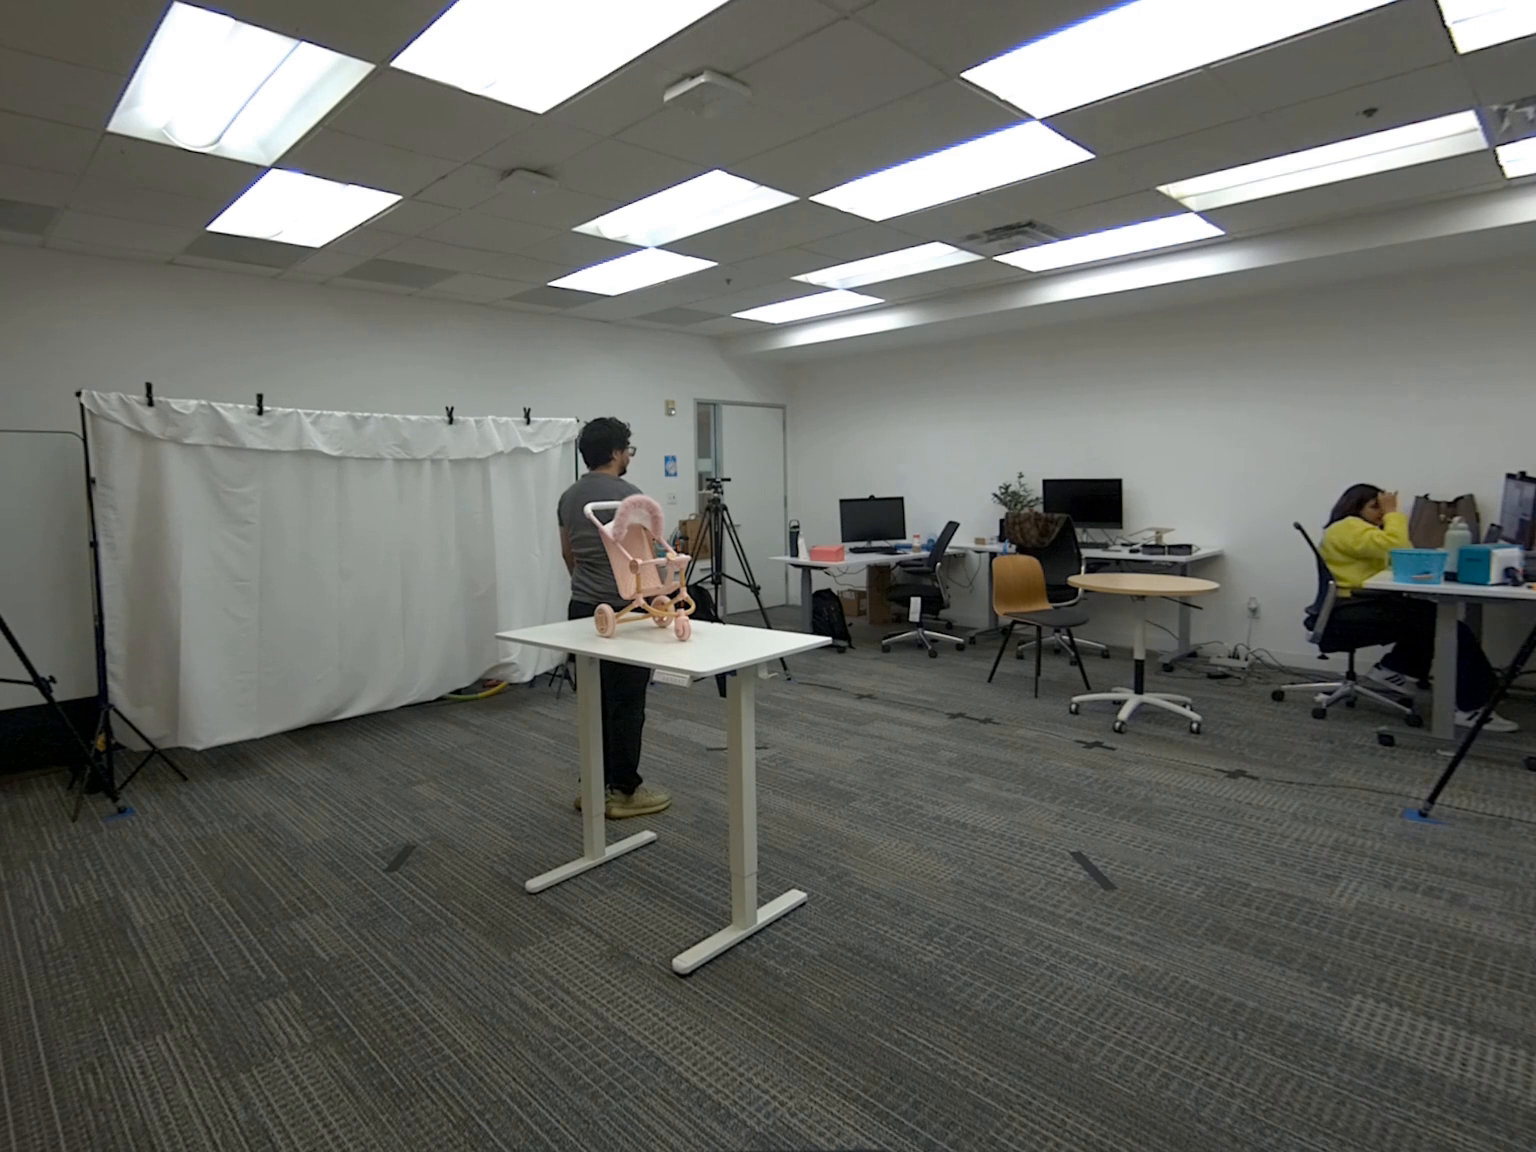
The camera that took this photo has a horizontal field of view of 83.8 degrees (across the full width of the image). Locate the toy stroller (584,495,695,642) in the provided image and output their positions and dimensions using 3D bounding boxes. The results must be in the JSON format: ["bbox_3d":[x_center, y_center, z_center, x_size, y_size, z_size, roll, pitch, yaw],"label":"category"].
[{"bbox_3d":[-0.412,-0.030,2.848,0.274,0.539,0.347,-5,-9,-40],"label":"toy stroller"}]
